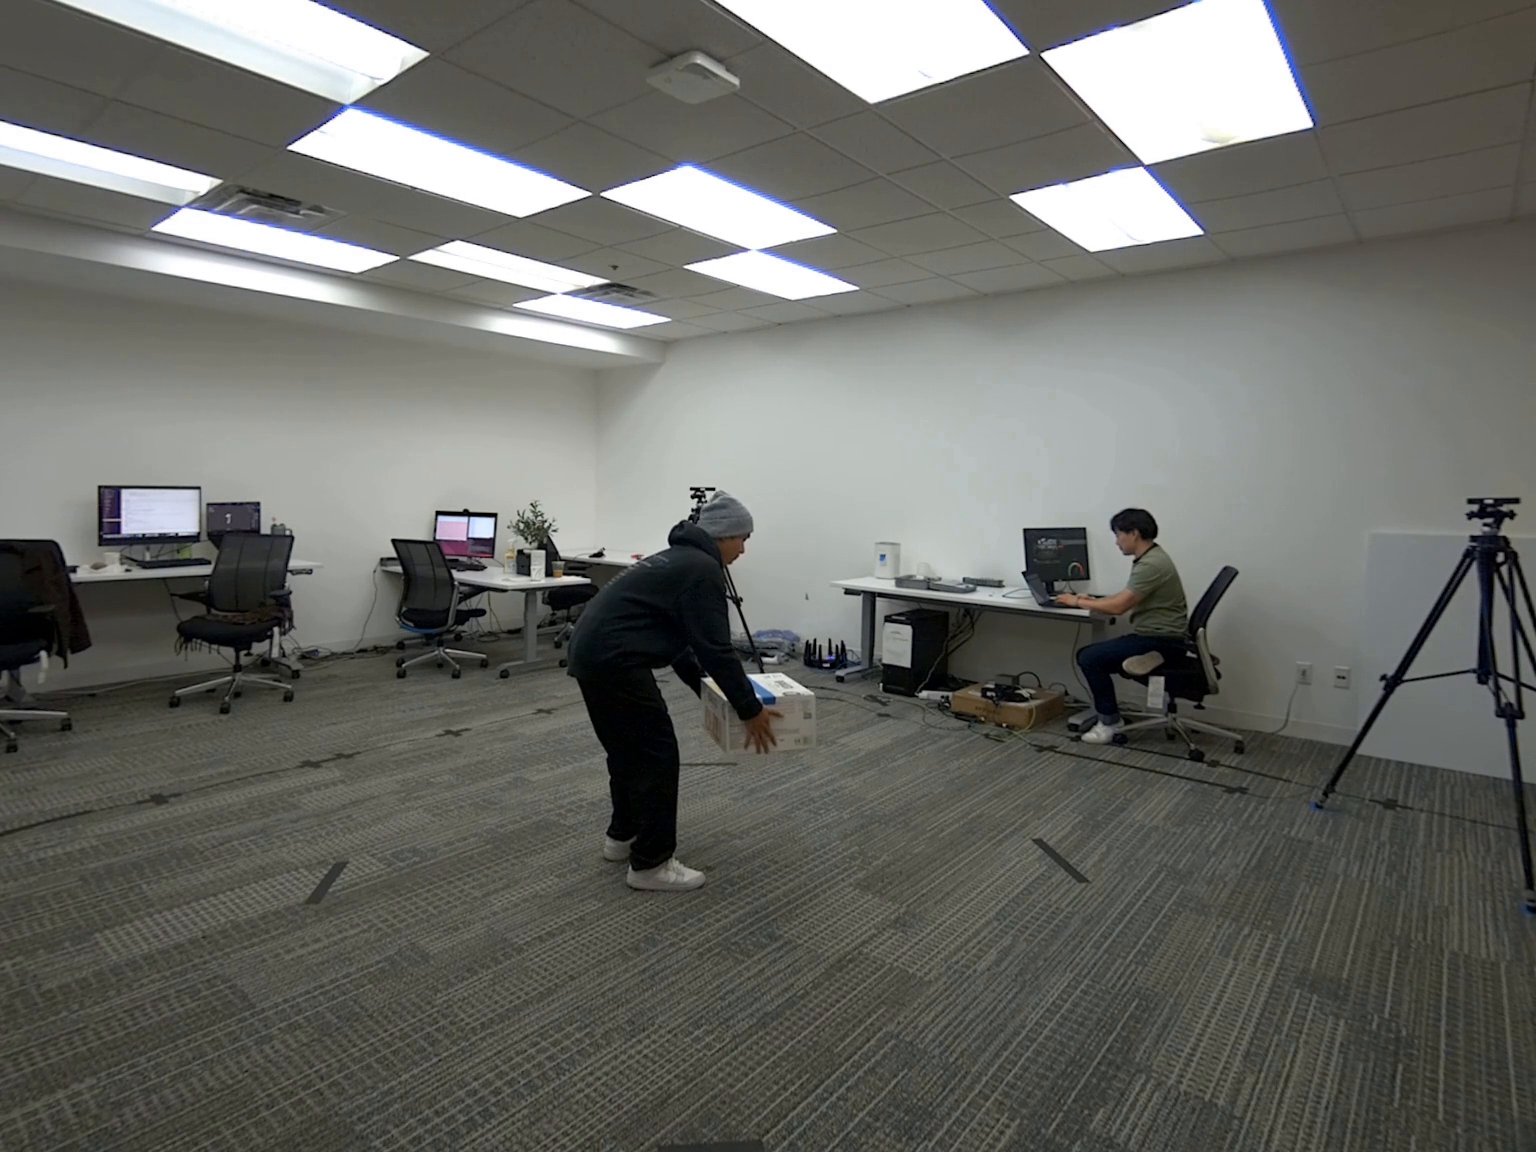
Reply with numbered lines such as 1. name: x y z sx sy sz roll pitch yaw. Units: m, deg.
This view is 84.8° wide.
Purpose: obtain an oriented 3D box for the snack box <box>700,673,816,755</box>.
1. snack box: -0.056 0.523 3.251 0.335 0.205 0.413 -3 5 -16
